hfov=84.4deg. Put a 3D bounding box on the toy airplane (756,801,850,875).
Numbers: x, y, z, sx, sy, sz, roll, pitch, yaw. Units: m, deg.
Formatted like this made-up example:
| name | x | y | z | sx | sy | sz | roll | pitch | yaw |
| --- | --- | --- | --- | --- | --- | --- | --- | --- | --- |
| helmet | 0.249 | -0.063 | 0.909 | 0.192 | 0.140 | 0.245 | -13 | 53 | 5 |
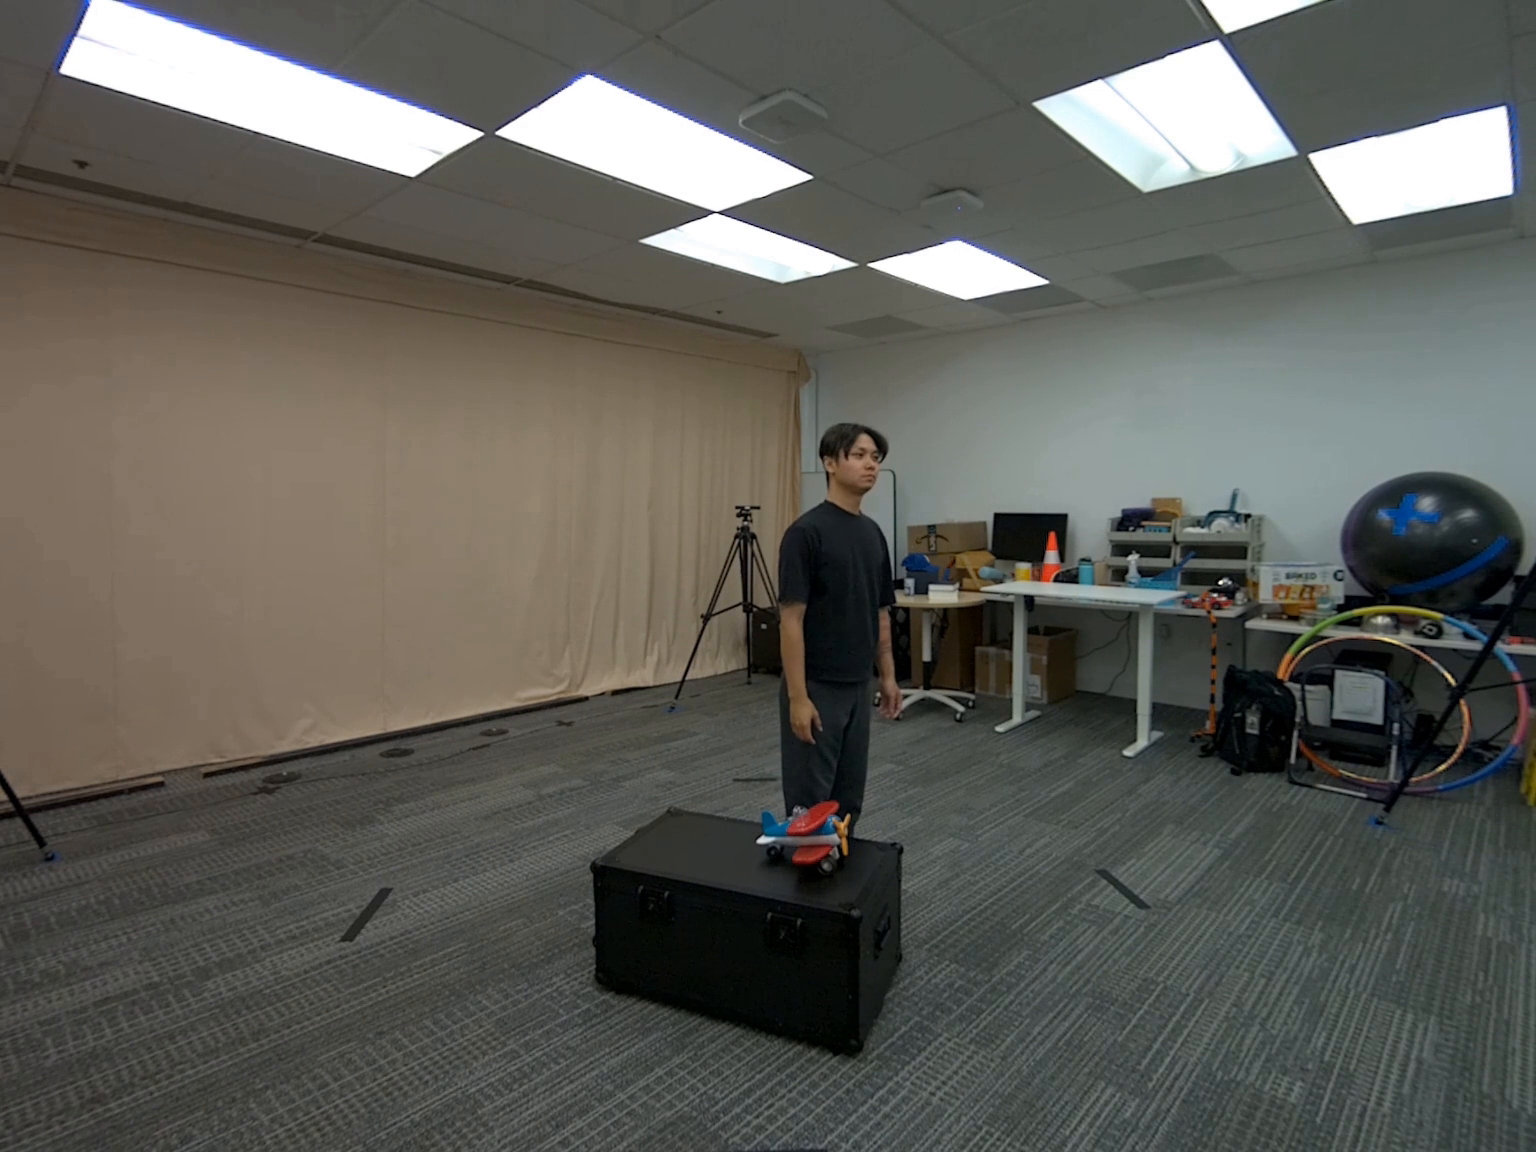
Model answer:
| name | x | y | z | sx | sy | sz | roll | pitch | yaw |
| --- | --- | --- | --- | --- | --- | --- | --- | --- | --- |
| toy airplane | 0.097 | 0.737 | 2.380 | 0.259 | 0.156 | 0.252 | 1 | 4 | -1 |
